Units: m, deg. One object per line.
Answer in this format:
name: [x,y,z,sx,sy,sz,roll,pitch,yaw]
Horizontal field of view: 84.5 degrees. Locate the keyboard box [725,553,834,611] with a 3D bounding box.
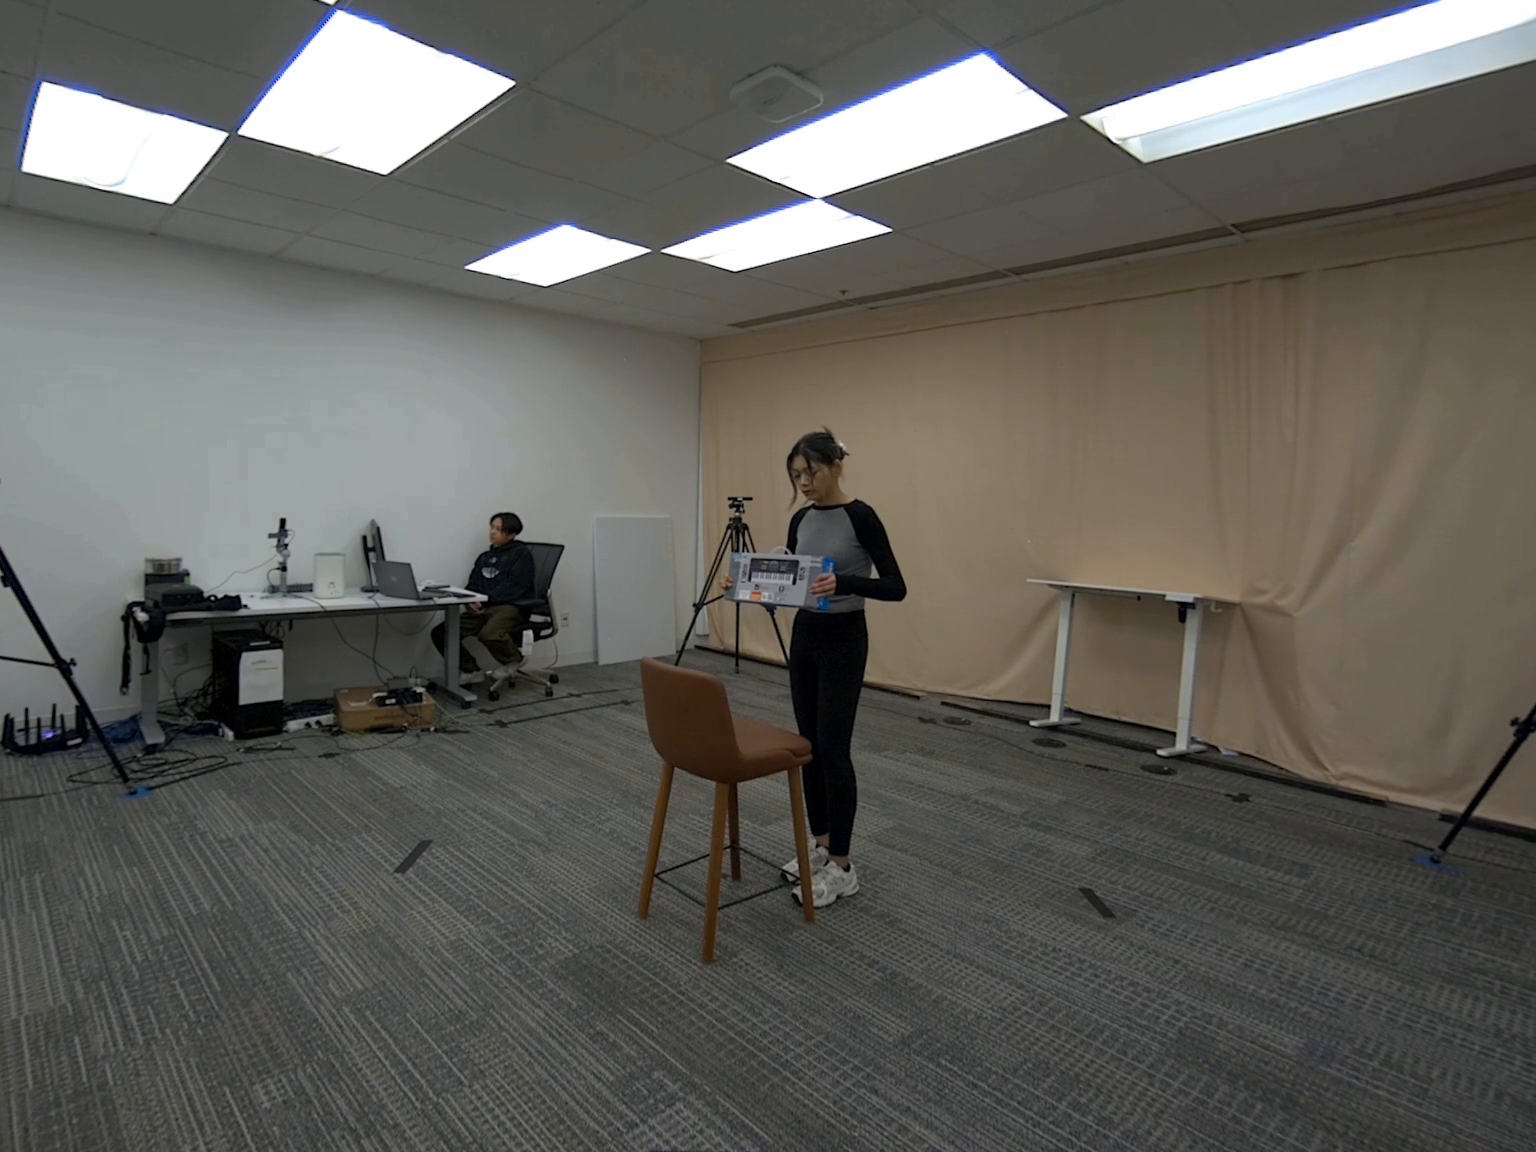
keyboard box: [0.026,0.017,2.911,0.448,0.176,0.057,4,-8,44]
